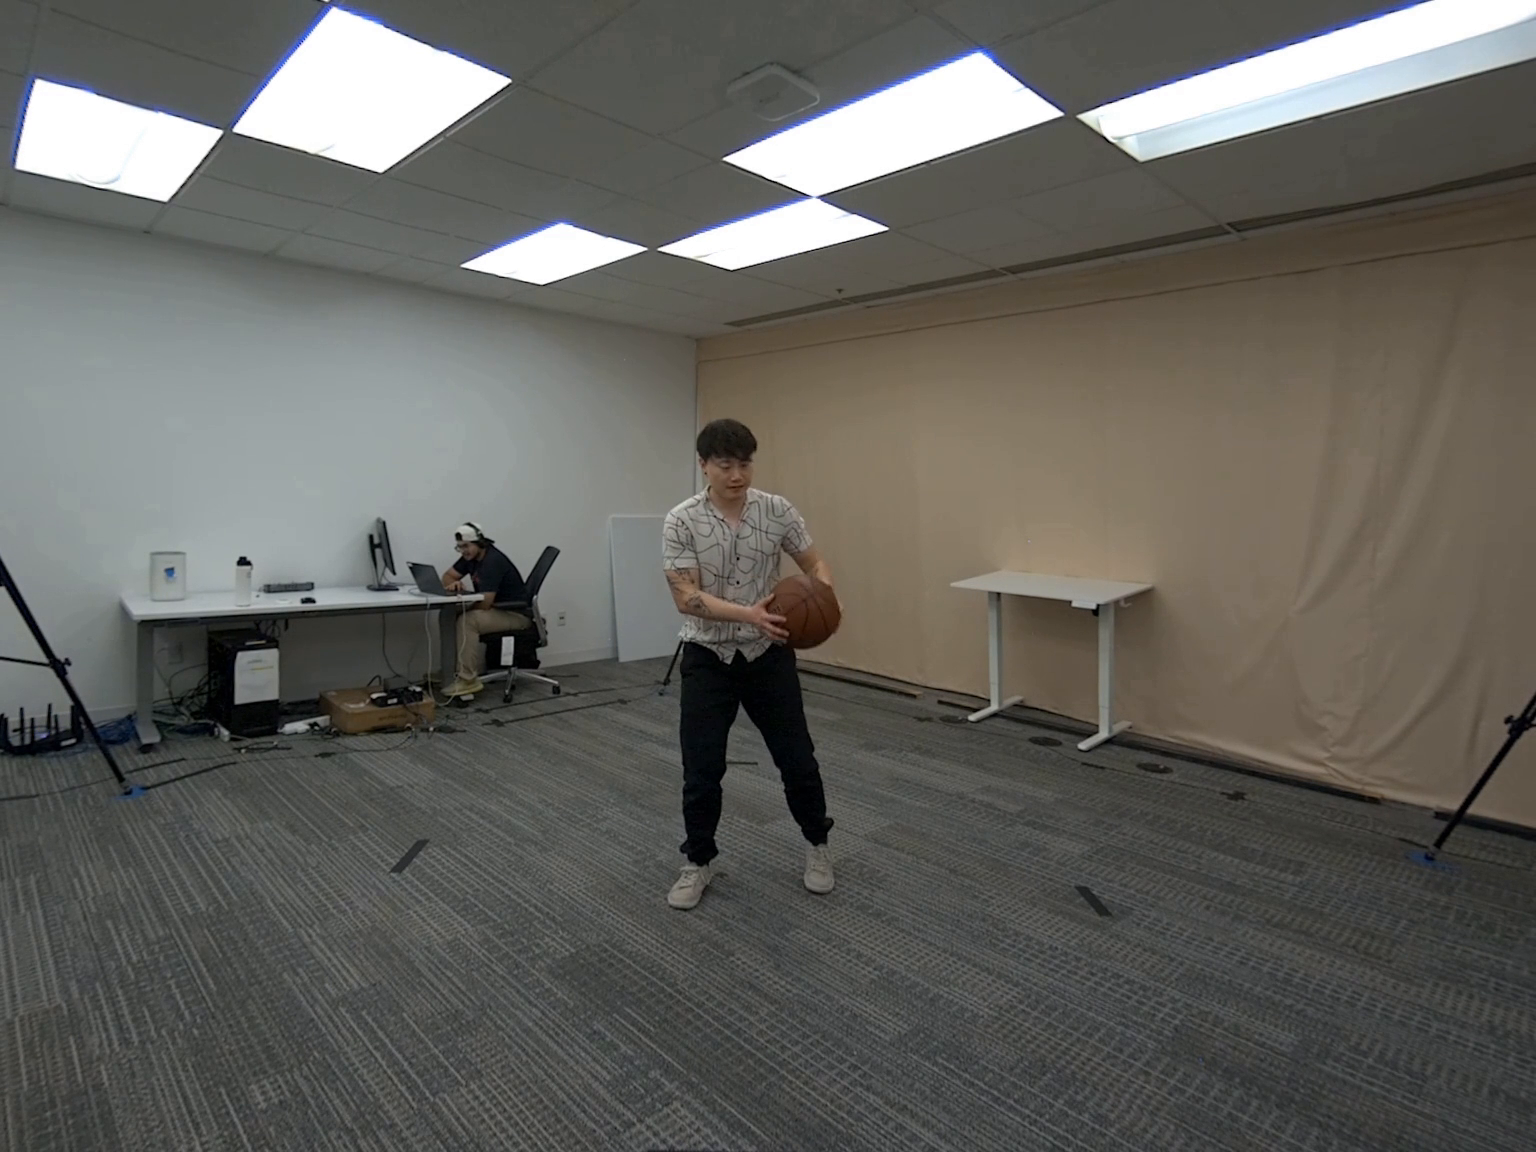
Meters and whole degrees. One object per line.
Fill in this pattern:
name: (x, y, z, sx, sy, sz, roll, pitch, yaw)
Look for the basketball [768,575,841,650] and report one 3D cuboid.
basketball: (0.093, 0.121, 2.689, 0.236, 0.235, 0.237, 1, 4, -1)
